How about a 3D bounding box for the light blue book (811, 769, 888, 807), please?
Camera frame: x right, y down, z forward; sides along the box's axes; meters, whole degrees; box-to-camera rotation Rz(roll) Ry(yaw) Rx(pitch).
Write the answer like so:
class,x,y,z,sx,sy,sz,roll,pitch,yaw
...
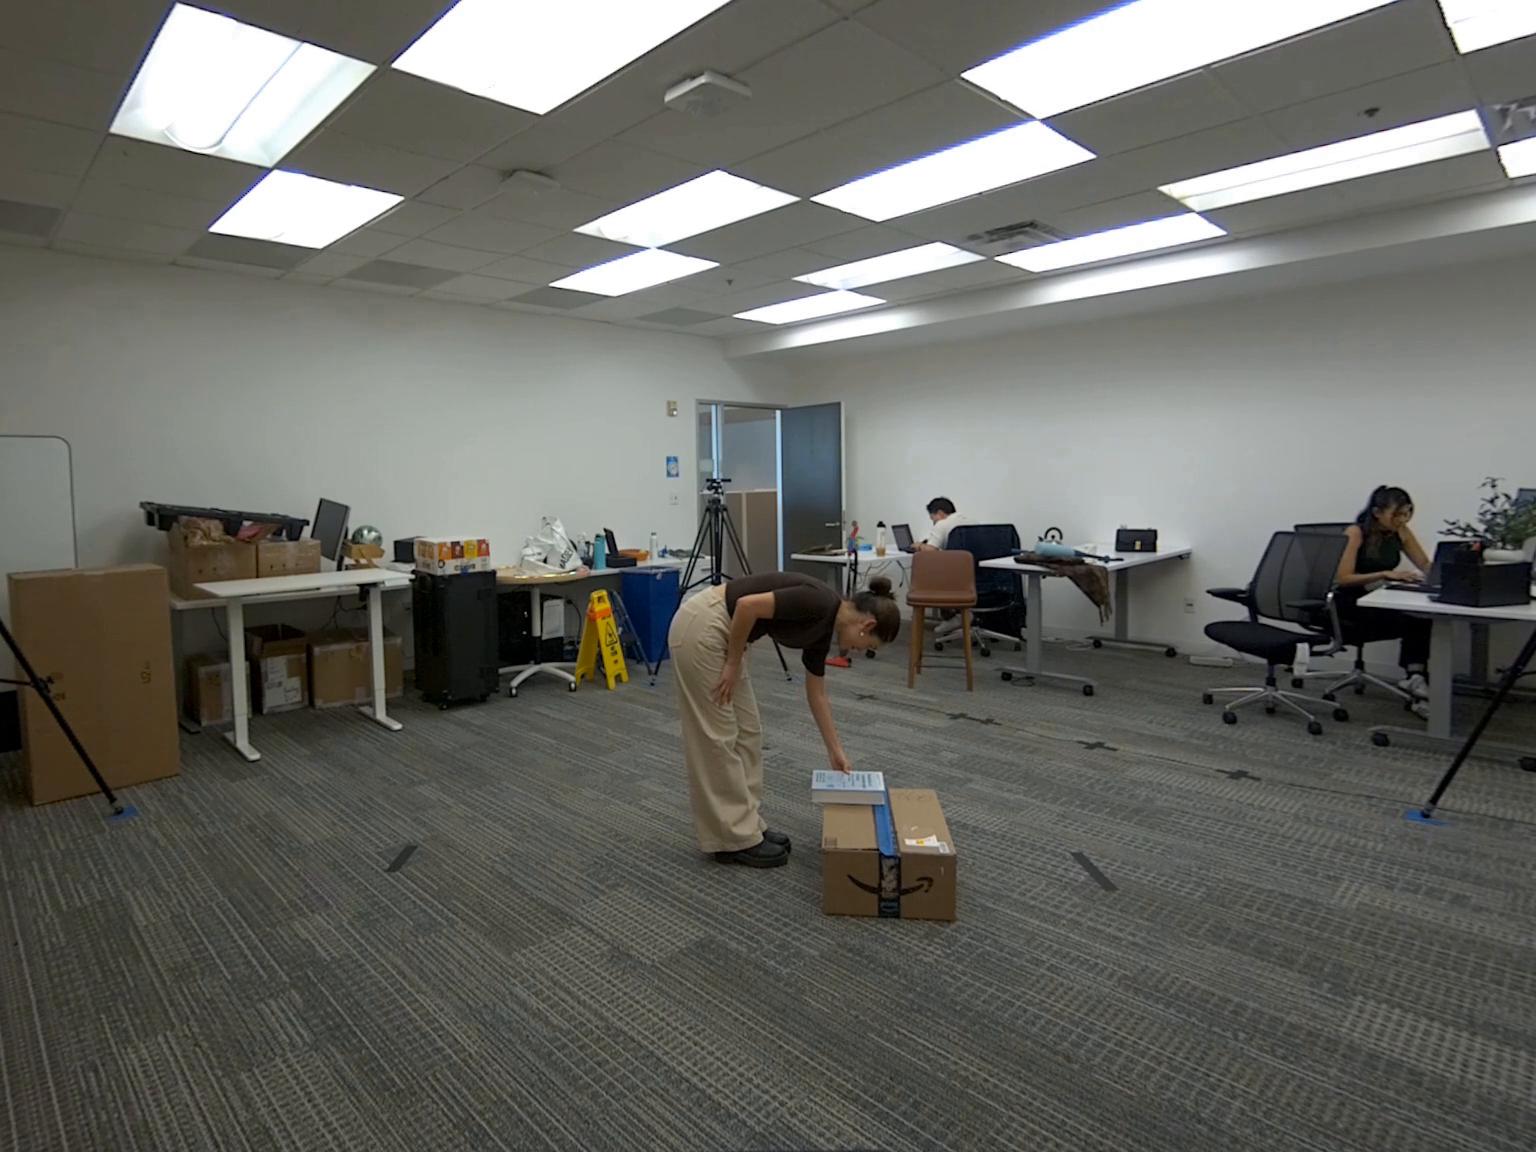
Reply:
class,x,y,z,sx,sy,sz,roll,pitch,yaw
light blue book,0.287,0.782,3.168,0.263,0.058,0.191,-1,8,6
